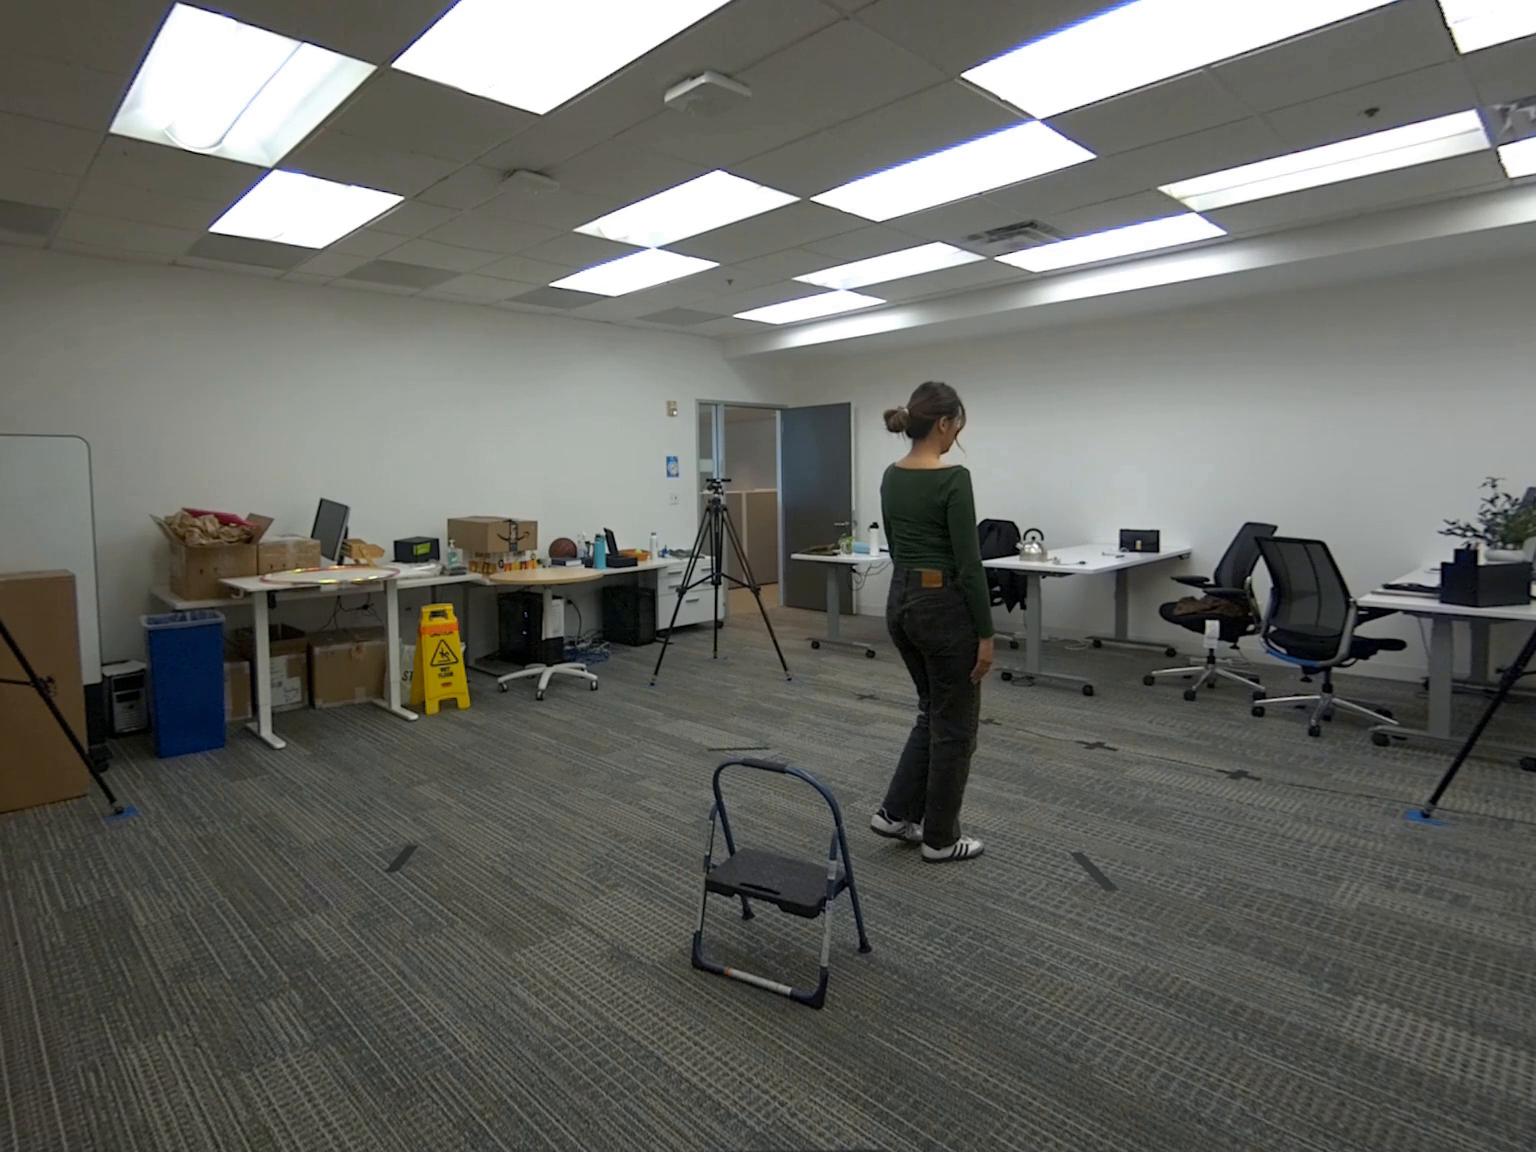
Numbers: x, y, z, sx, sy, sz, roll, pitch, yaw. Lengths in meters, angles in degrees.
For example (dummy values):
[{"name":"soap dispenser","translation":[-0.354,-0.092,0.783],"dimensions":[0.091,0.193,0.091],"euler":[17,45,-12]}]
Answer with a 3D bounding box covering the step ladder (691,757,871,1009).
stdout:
[{"name":"step ladder","translation":[0.037,0.813,2.477],"dimensions":[0.442,0.604,0.342],"euler":[1,5,29]}]
